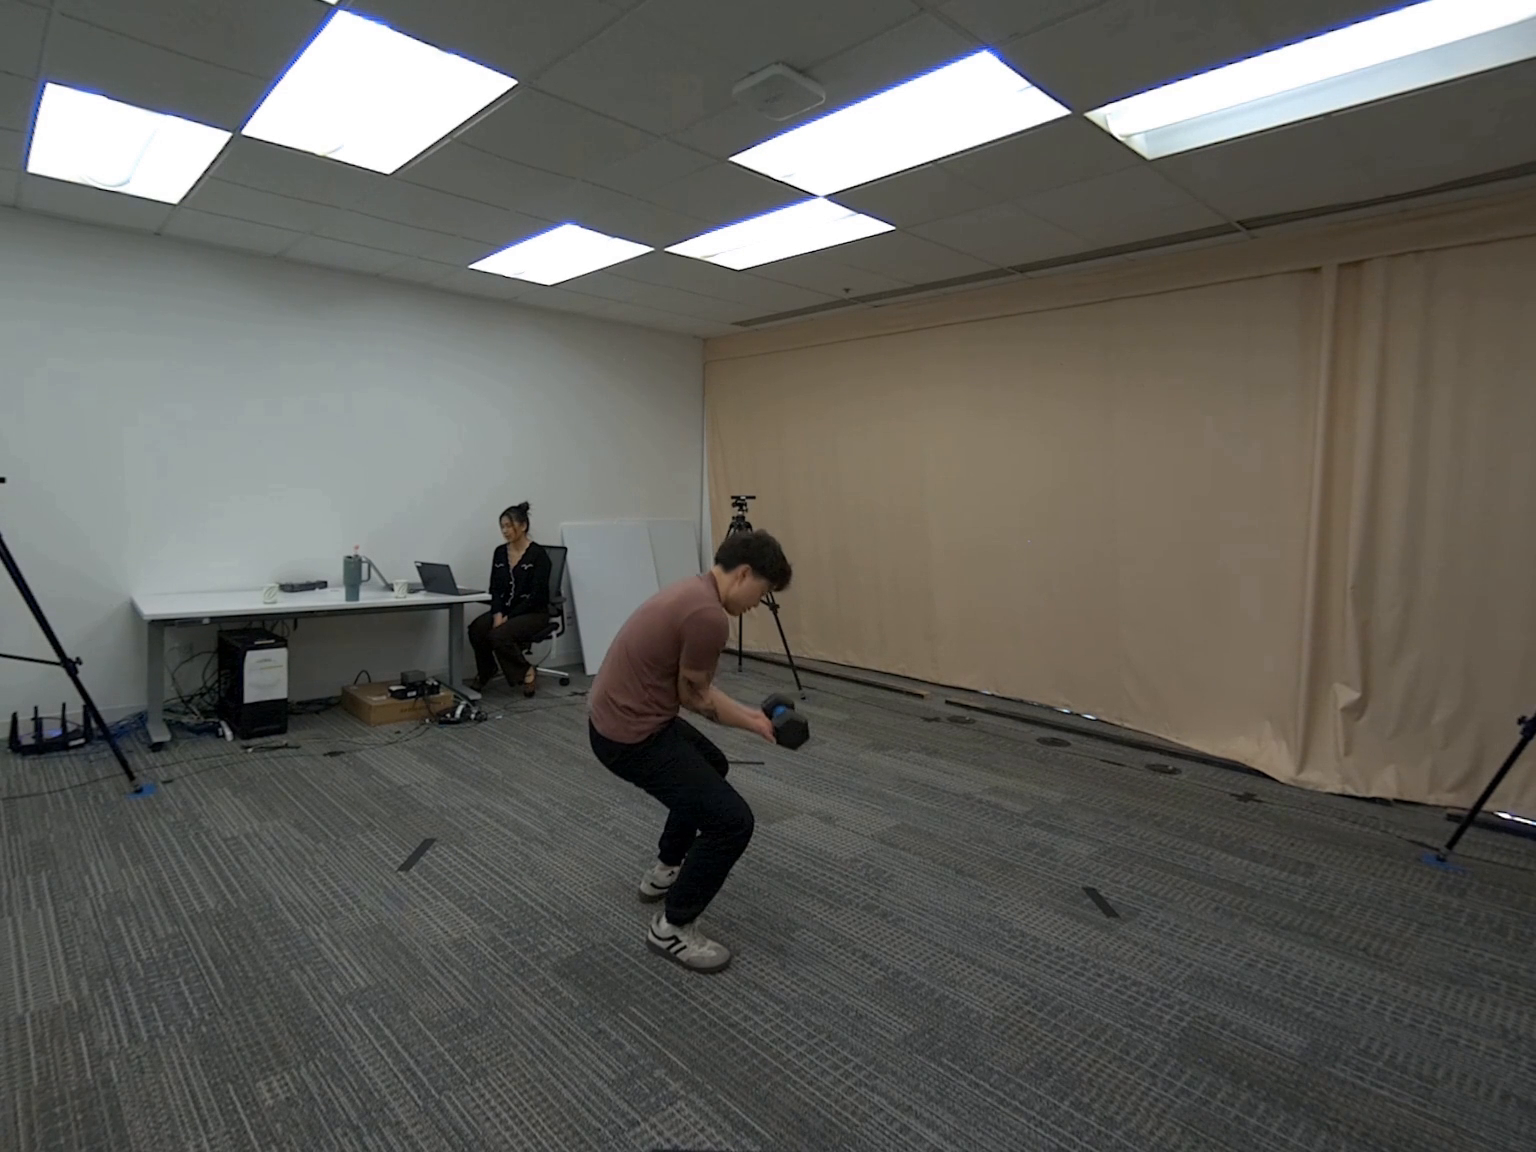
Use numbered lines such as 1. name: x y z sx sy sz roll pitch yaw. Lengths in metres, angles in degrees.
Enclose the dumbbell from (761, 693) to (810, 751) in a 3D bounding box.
1. dumbbell: 0.046 0.479 2.759 0.122 0.108 0.296 23 4 -8
